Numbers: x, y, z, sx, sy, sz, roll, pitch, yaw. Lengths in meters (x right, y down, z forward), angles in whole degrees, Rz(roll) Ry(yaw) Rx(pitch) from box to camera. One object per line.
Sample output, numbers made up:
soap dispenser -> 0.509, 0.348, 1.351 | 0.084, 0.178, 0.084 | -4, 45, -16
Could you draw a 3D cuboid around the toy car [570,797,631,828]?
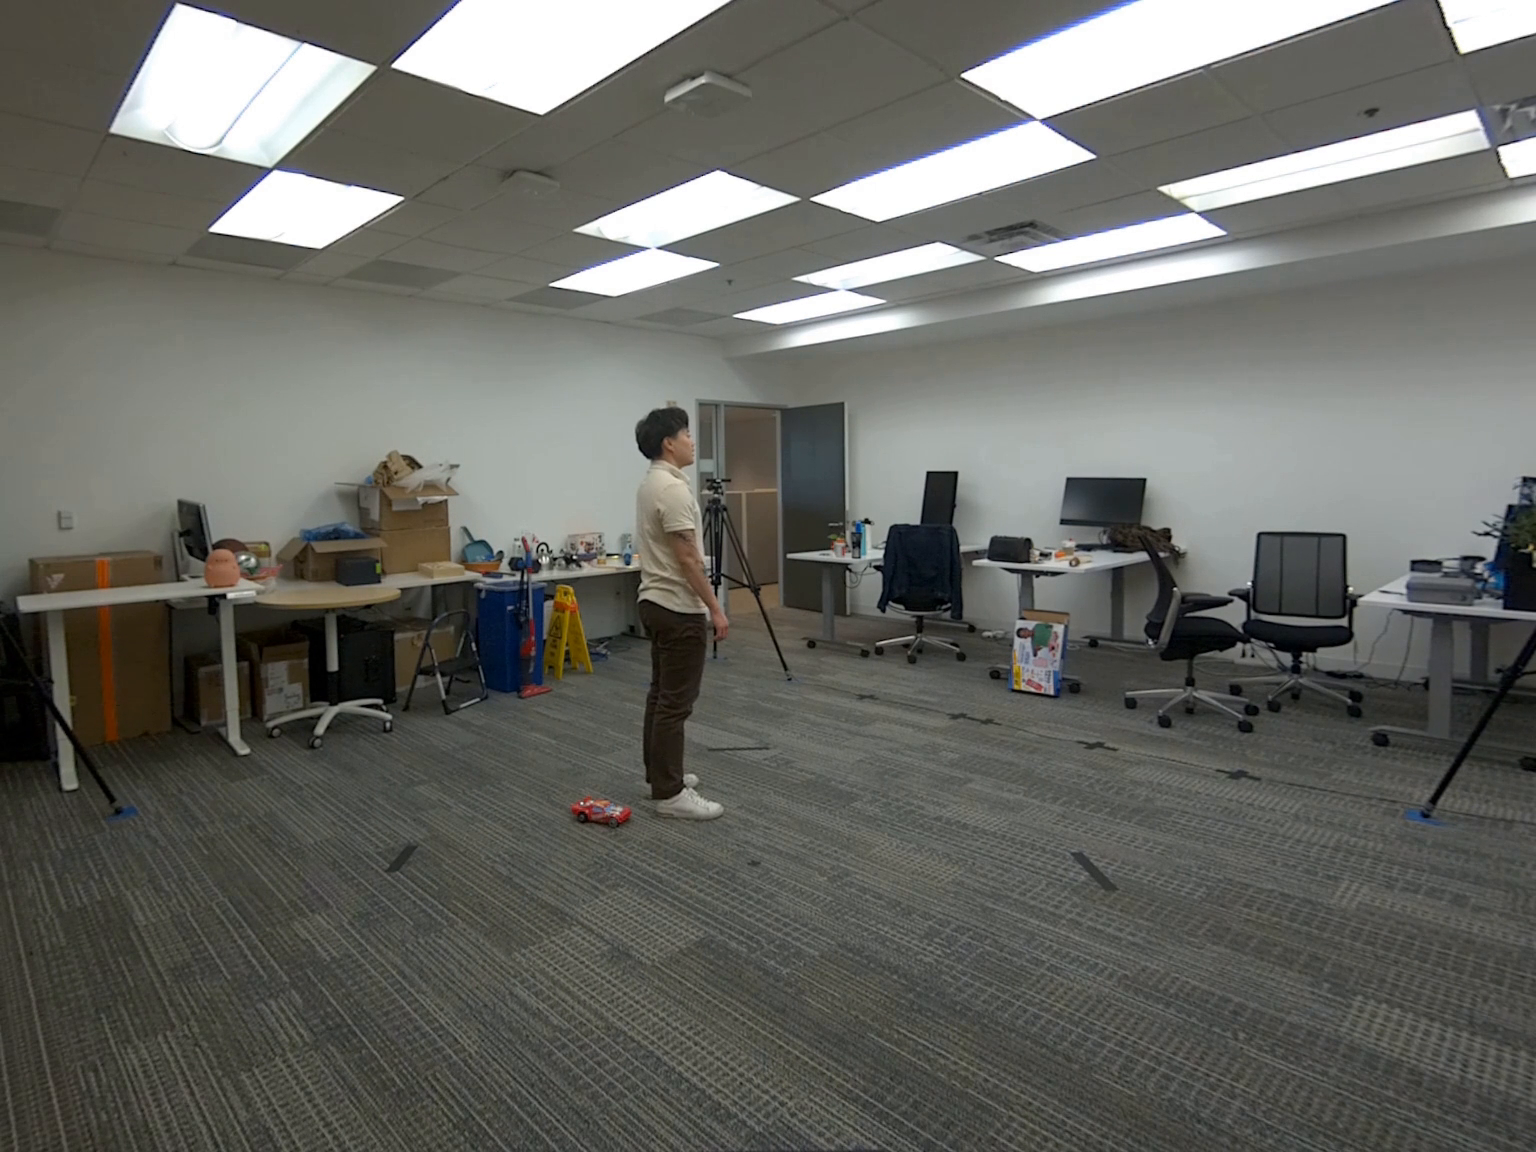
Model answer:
toy car -> -0.695, 0.977, 3.535 | 0.261, 0.082, 0.128 | 13, 11, 22
